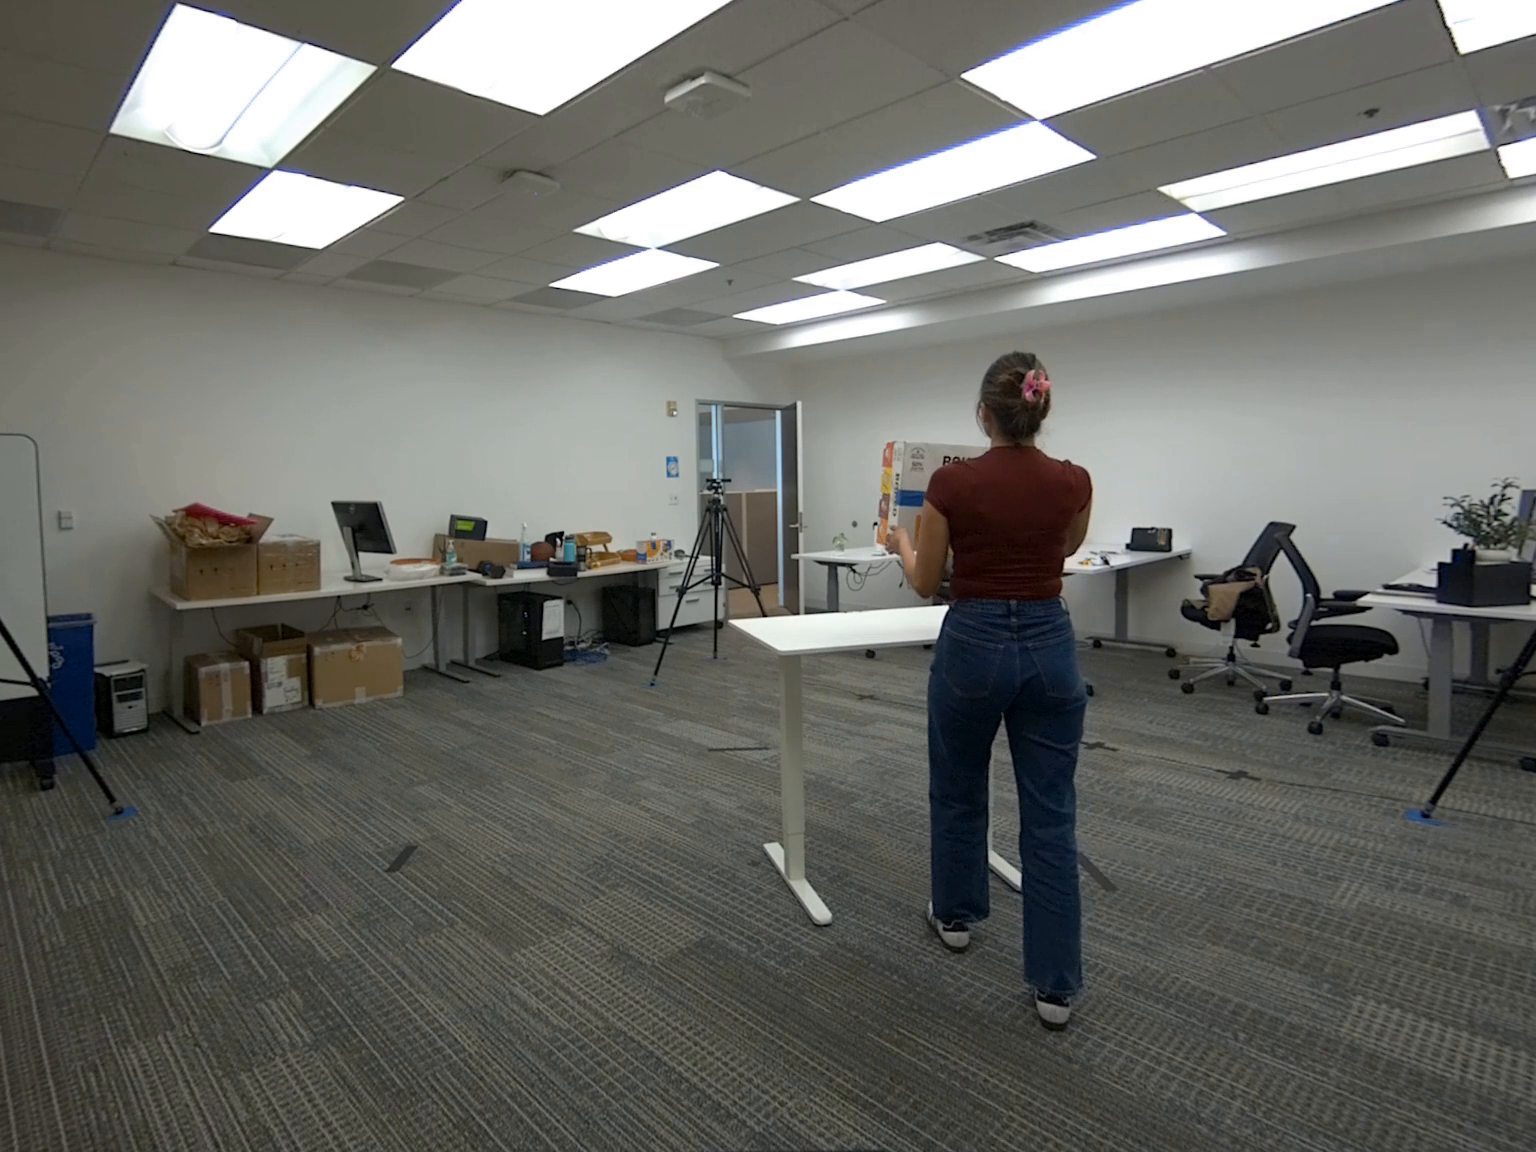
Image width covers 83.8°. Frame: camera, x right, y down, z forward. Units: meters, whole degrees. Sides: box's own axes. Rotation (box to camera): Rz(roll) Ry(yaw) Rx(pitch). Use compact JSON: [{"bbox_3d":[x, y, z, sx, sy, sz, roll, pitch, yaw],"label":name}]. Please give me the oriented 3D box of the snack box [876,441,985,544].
[{"bbox_3d":[0.586,-0.257,2.755,0.403,0.339,0.208,3,5,-6],"label":"snack box"}]
